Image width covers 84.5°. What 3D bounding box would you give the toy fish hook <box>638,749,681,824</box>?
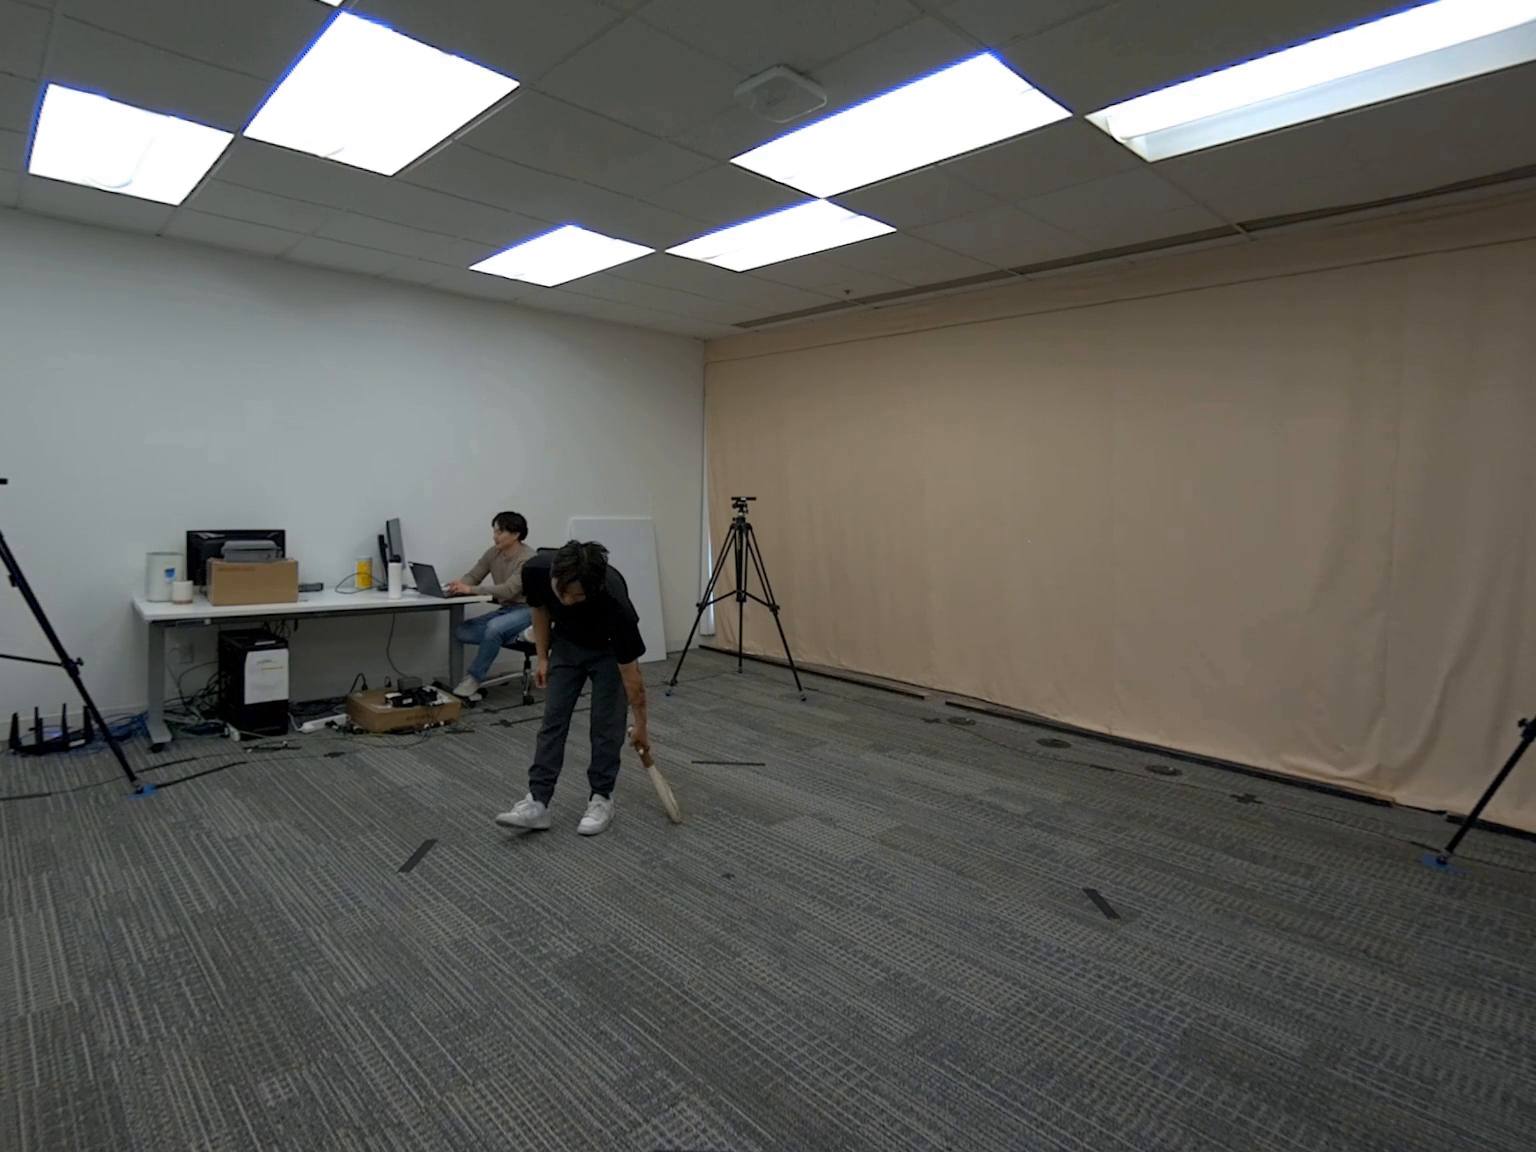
[{"bbox_3d":[-0.502,0.835,3.599,0.048,0.498,0.229,-26,17,-9],"label":"toy fish hook"}]
